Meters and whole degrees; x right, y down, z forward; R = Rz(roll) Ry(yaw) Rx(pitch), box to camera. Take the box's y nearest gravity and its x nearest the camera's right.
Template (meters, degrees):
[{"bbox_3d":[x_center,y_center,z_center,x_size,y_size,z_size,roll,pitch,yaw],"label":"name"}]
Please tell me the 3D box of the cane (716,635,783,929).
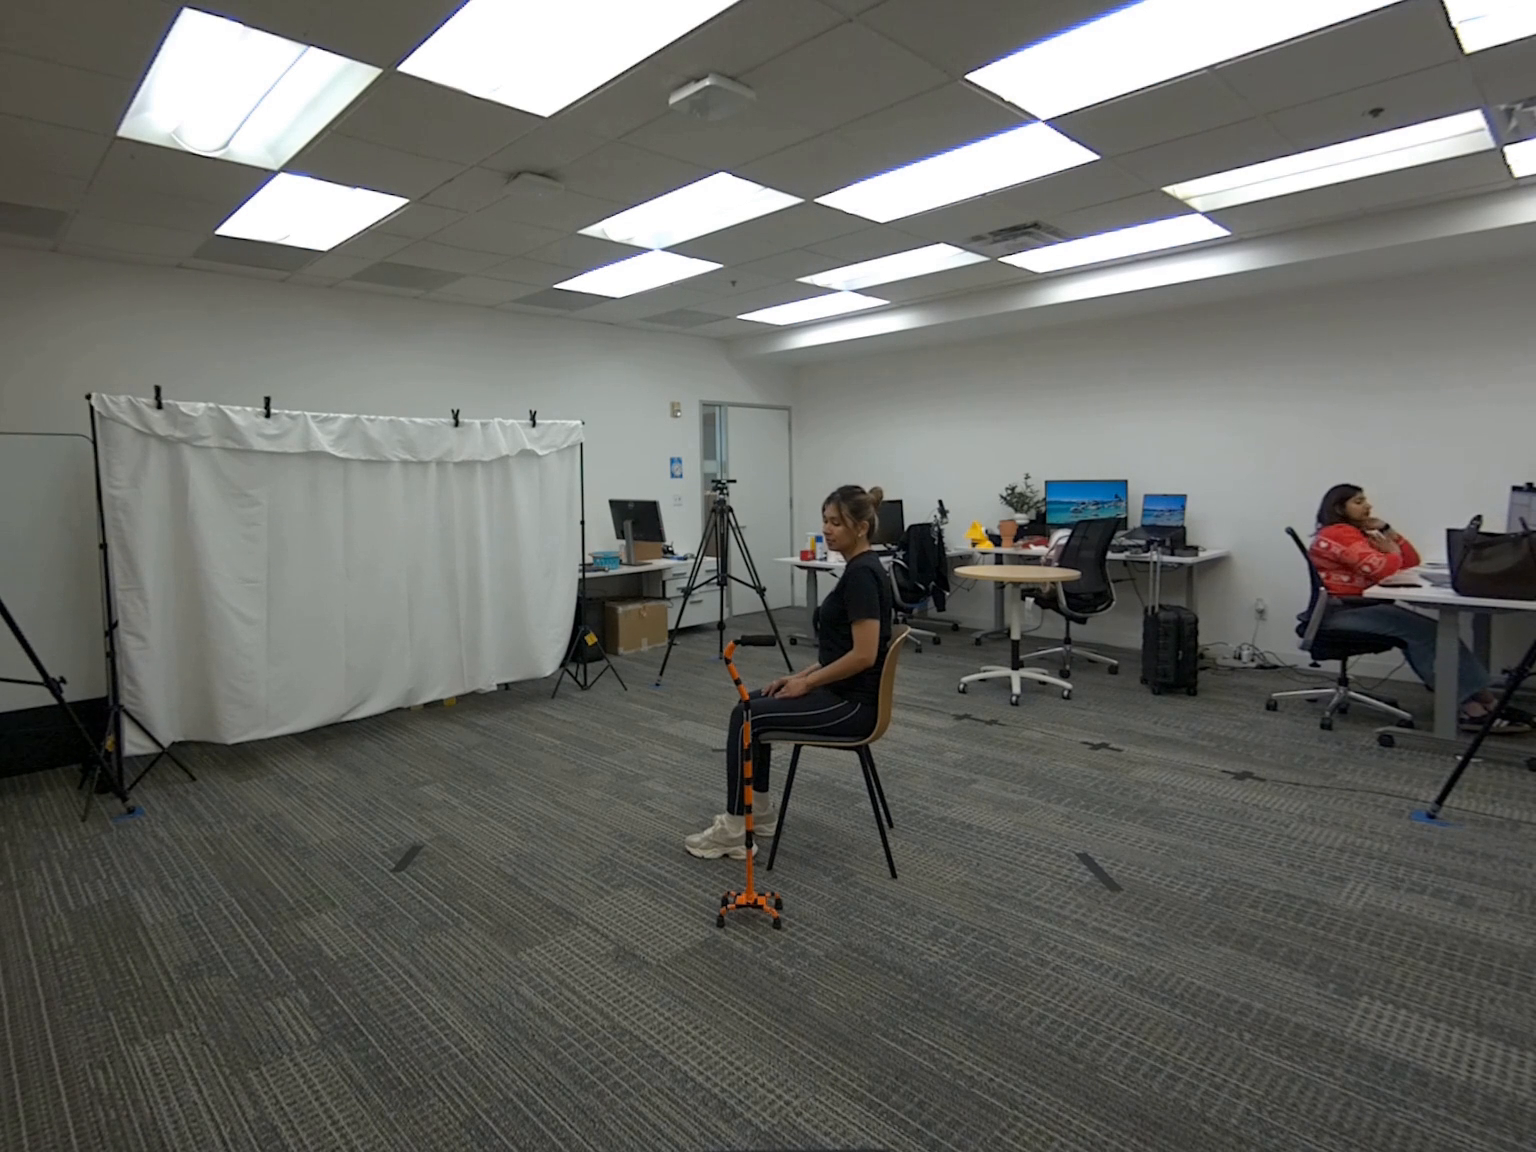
[{"bbox_3d":[-0.065,0.641,2.701,0.207,0.905,0.151,-1,3,4],"label":"cane"}]
